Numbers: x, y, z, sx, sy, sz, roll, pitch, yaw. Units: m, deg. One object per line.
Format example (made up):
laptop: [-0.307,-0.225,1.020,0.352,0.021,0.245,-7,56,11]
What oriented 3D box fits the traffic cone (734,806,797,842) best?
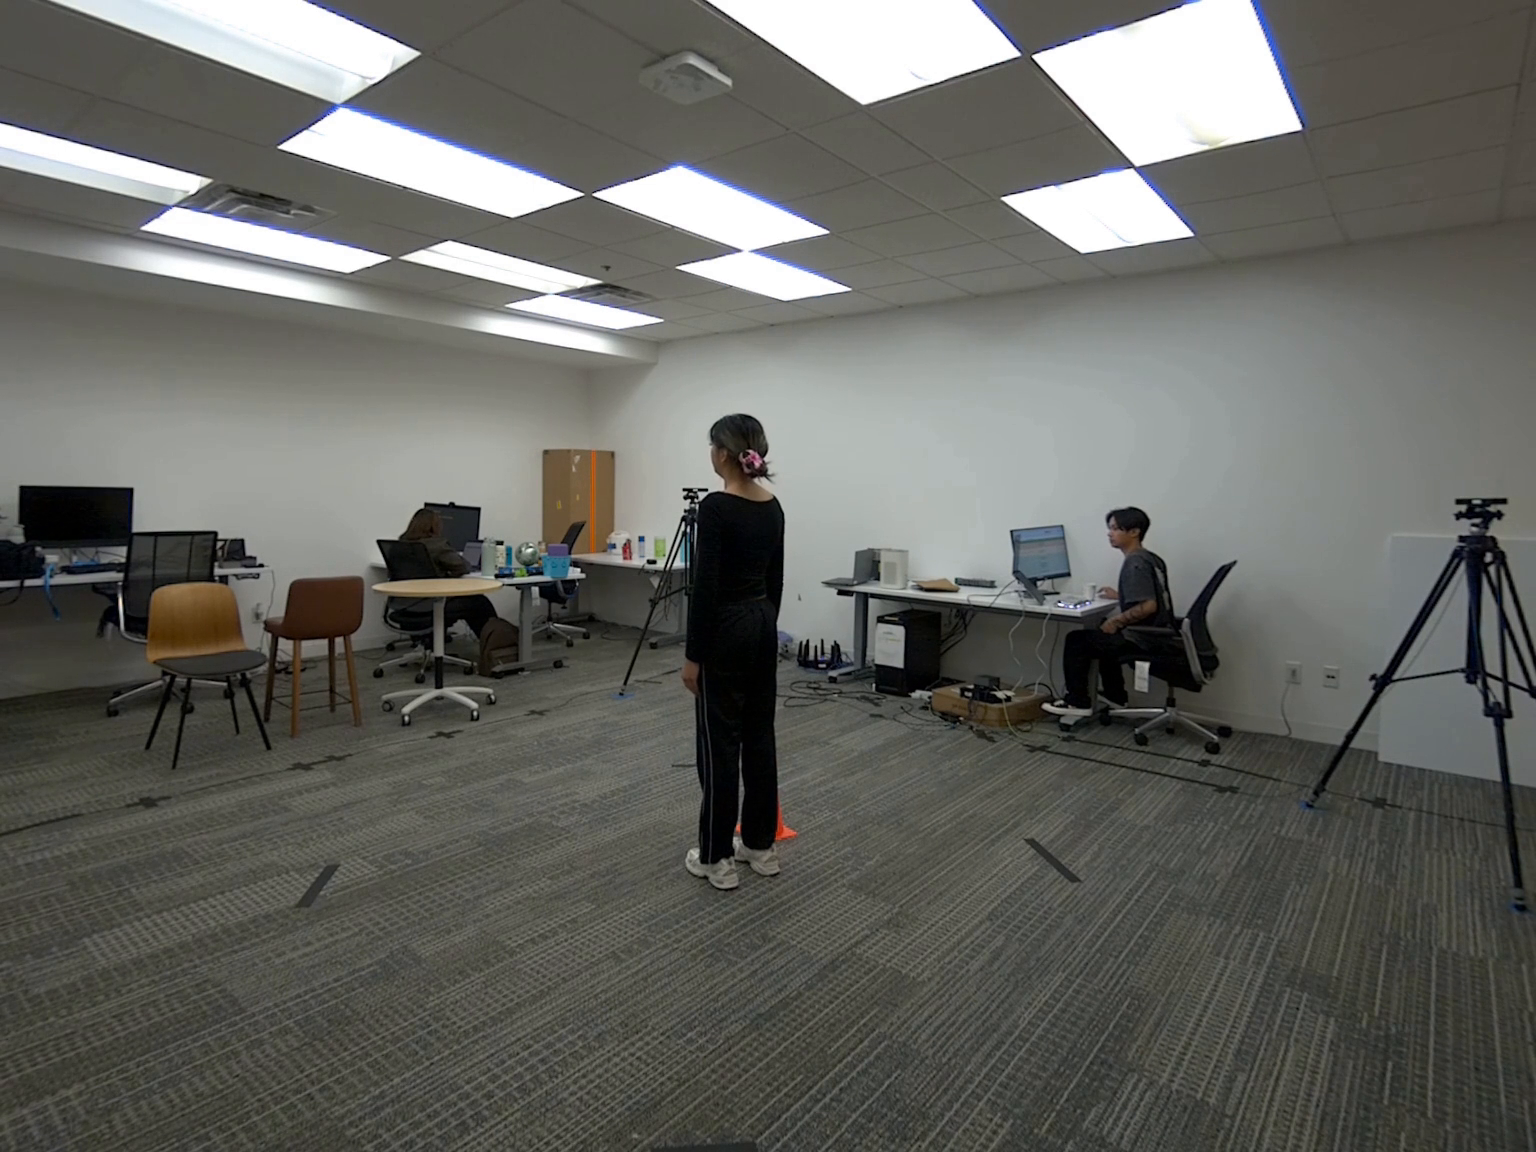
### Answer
traffic cone: [-0.019,0.848,3.459,0.198,0.382,0.211,-2,5,-33]
